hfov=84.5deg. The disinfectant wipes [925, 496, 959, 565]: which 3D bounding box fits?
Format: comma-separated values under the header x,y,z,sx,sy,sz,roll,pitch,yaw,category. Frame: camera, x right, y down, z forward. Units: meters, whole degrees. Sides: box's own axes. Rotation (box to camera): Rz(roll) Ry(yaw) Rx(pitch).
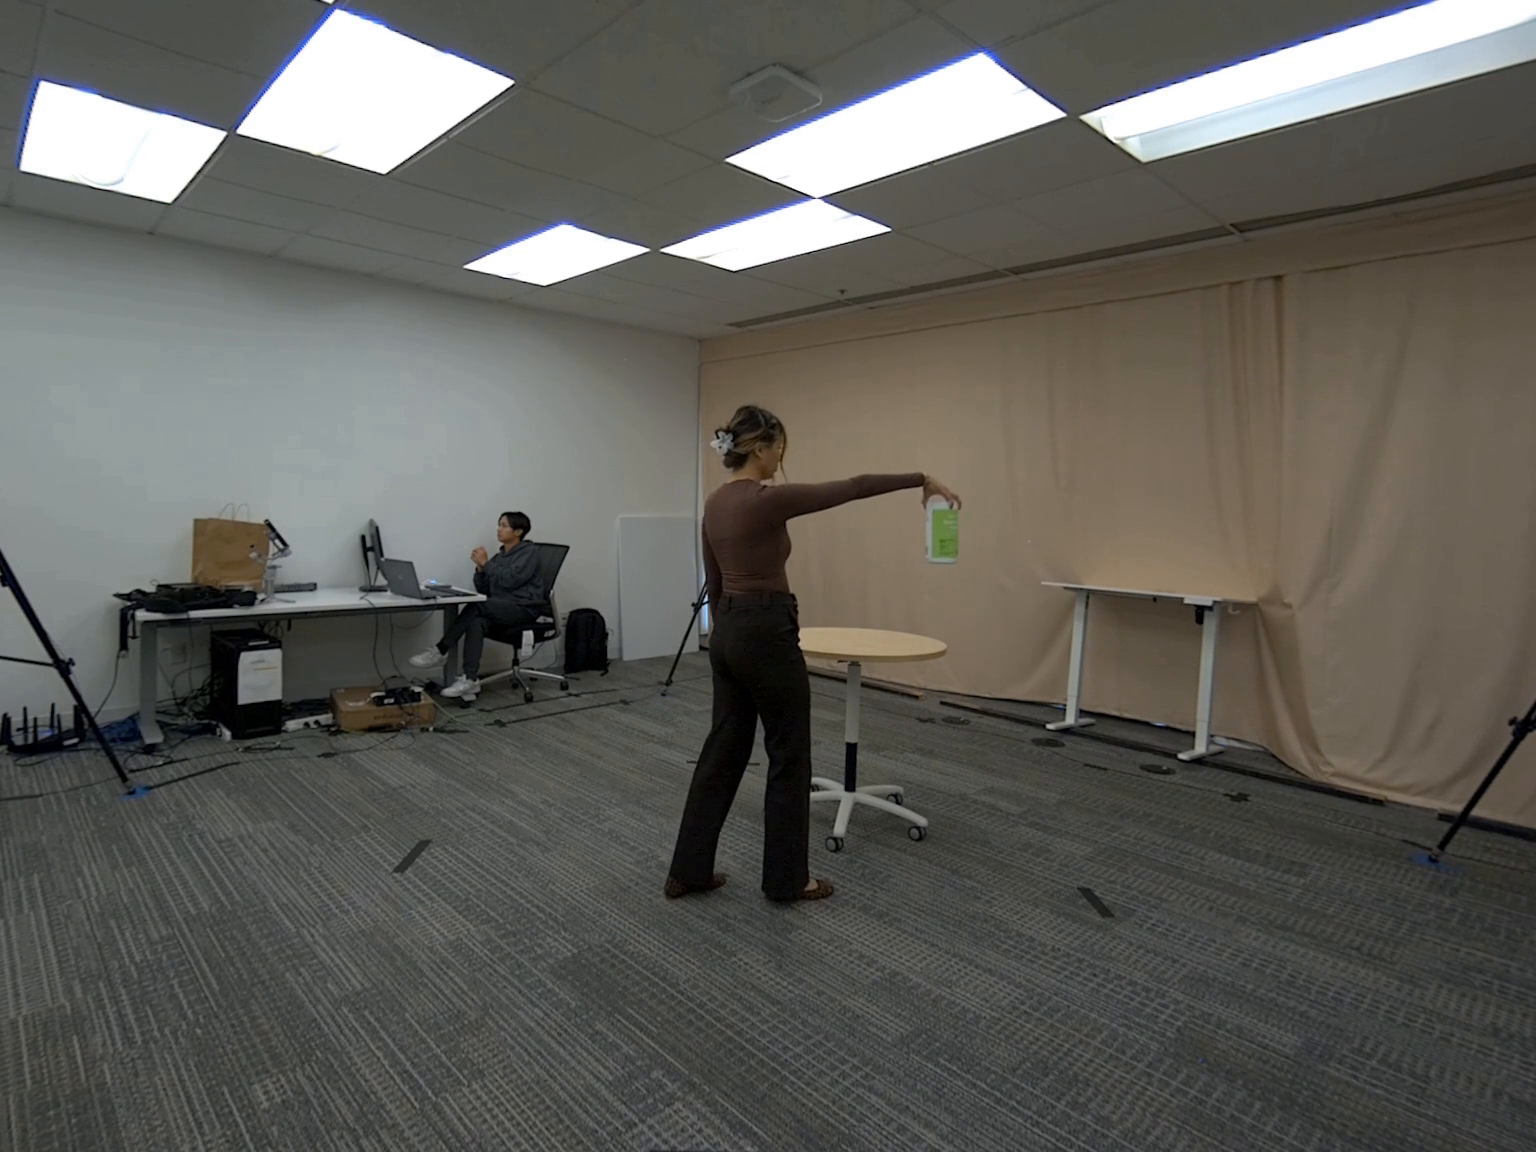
x,y,z,sx,sy,sz,roll,pitch,yaw,category
0.585,-0.157,2.942,0.118,0.216,0.118,0,5,-1,disinfectant wipes
